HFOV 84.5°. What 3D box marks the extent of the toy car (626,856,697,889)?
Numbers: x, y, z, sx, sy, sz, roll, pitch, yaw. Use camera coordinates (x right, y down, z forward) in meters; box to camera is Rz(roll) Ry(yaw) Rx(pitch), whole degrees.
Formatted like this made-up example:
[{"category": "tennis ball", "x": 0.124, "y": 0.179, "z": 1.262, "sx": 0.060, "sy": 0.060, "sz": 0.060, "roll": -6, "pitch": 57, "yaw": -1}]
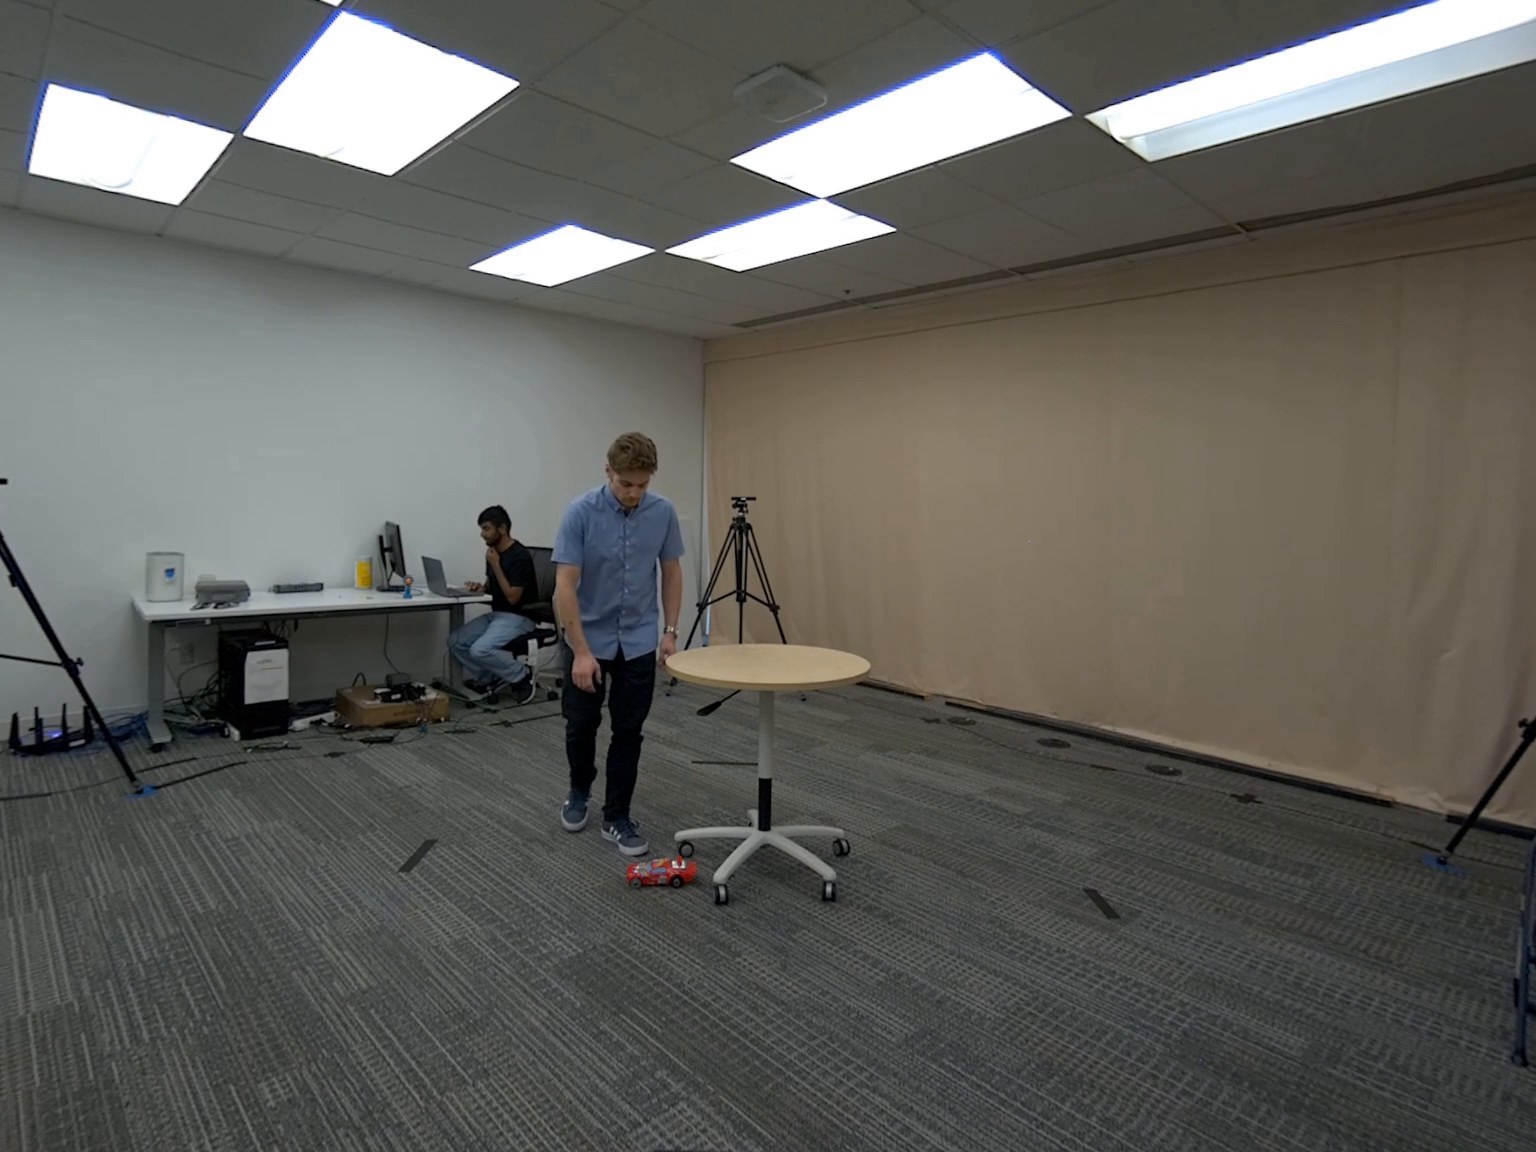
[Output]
[{"category": "toy car", "x": -0.395, "y": 1.078, "z": 3.041, "sx": 0.254, "sy": 0.083, "sz": 0.131, "roll": -10, "pitch": 7, "yaw": -4}]
